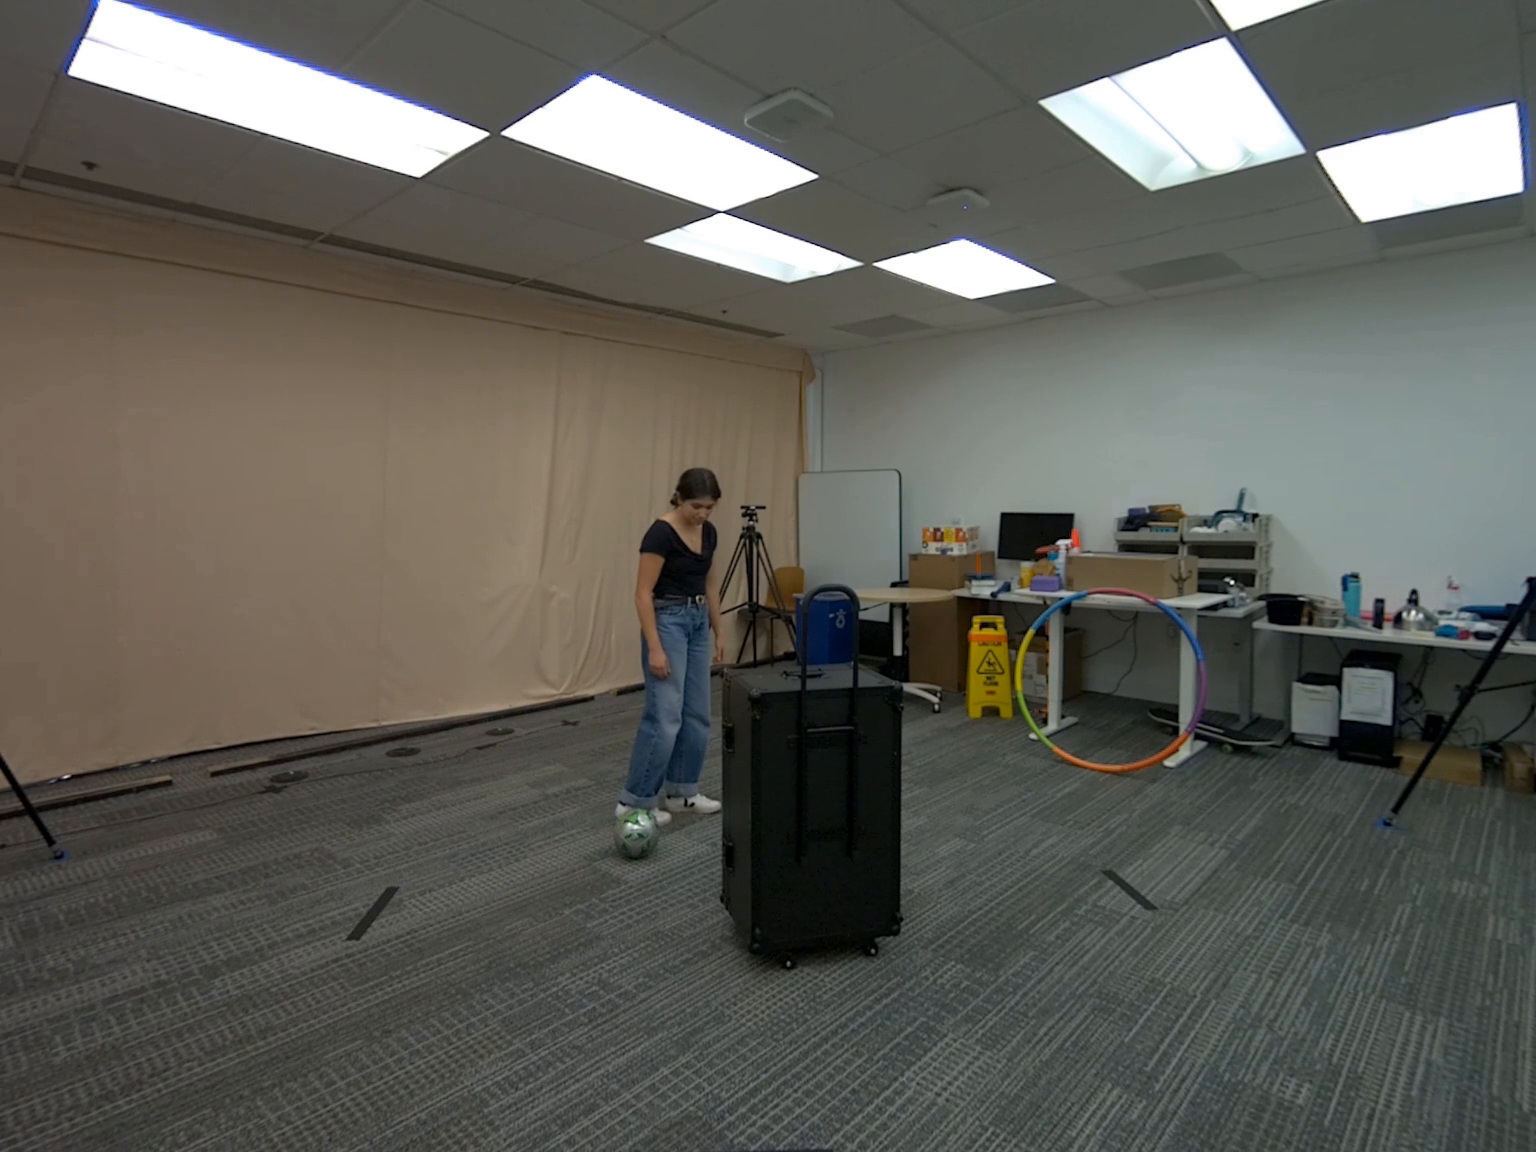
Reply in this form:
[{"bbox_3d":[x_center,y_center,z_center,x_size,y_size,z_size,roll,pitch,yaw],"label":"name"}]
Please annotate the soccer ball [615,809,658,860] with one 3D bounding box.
[{"bbox_3d":[-0.526,1.020,3.355,0.187,0.187,0.188,0,4,-2],"label":"soccer ball"}]
